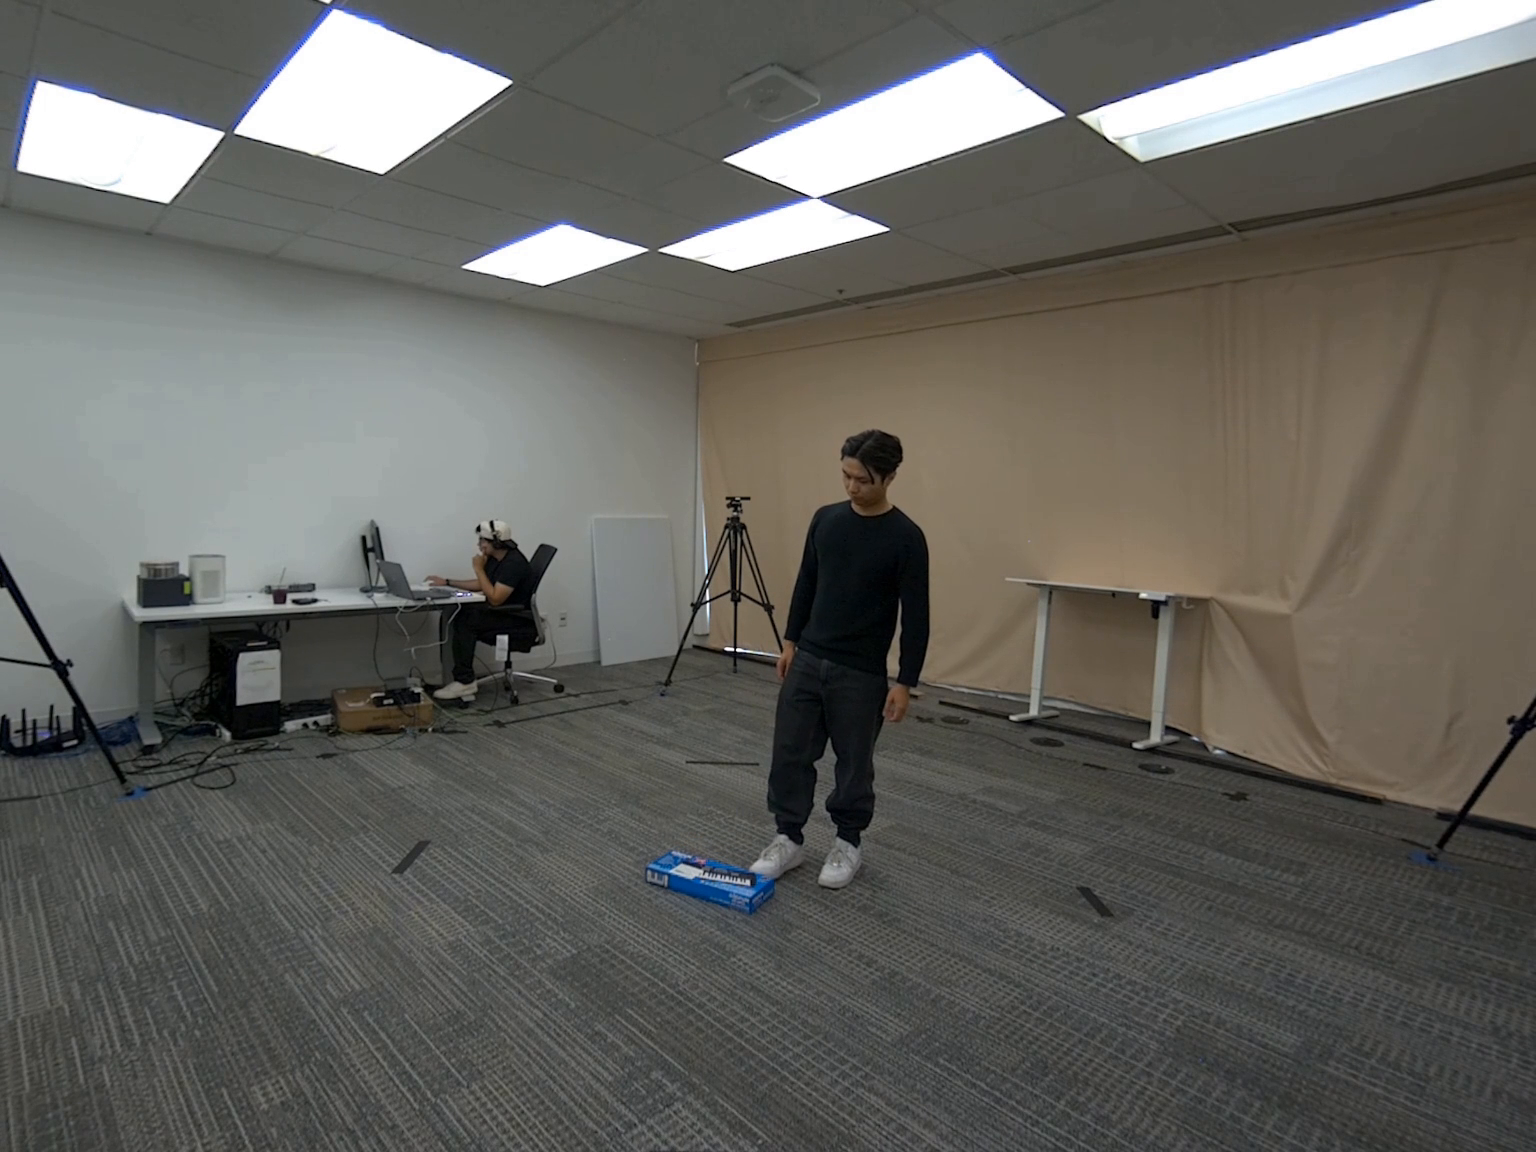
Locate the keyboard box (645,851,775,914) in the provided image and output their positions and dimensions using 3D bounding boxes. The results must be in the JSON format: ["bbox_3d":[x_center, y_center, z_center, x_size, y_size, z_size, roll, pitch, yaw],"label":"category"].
[{"bbox_3d":[-0.218,1.085,2.996,0.446,0.059,0.173,4,6,30],"label":"keyboard box"}]
